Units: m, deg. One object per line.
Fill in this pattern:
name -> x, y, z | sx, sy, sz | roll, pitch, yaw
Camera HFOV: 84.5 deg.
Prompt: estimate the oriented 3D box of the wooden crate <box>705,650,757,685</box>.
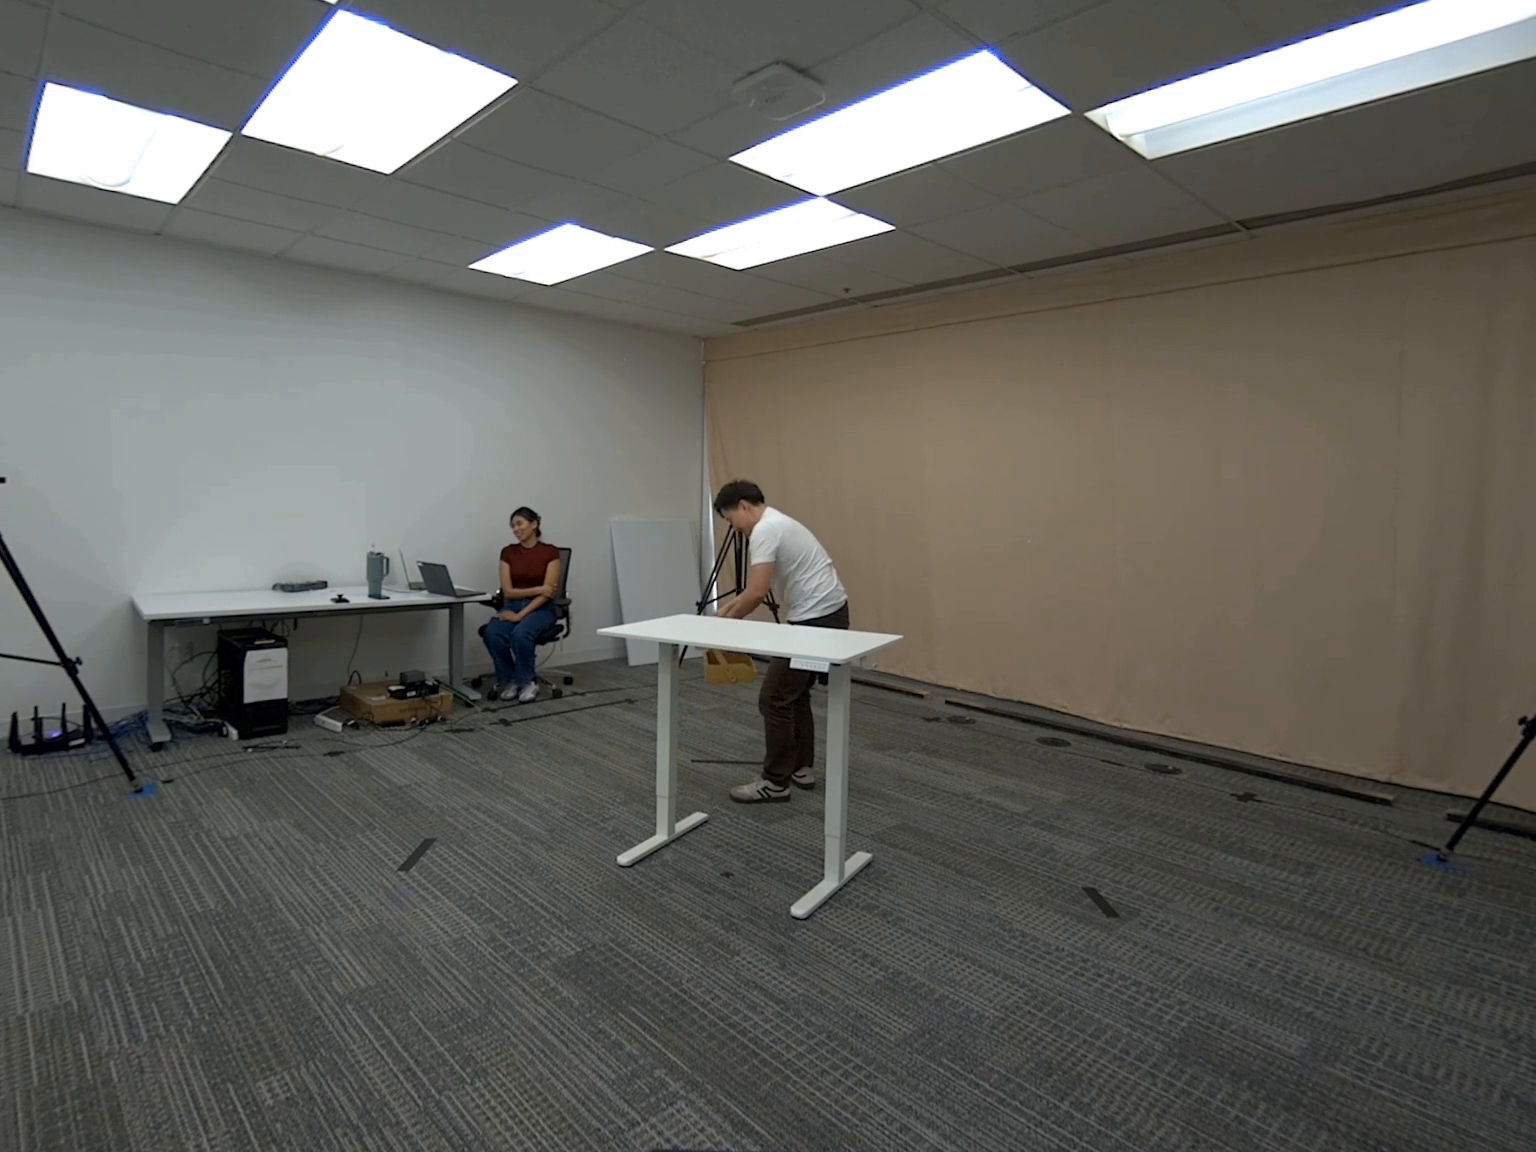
wooden crate -> -0.214, 0.367, 4.187 | 0.301, 0.272, 0.327 | -2, 6, -6
